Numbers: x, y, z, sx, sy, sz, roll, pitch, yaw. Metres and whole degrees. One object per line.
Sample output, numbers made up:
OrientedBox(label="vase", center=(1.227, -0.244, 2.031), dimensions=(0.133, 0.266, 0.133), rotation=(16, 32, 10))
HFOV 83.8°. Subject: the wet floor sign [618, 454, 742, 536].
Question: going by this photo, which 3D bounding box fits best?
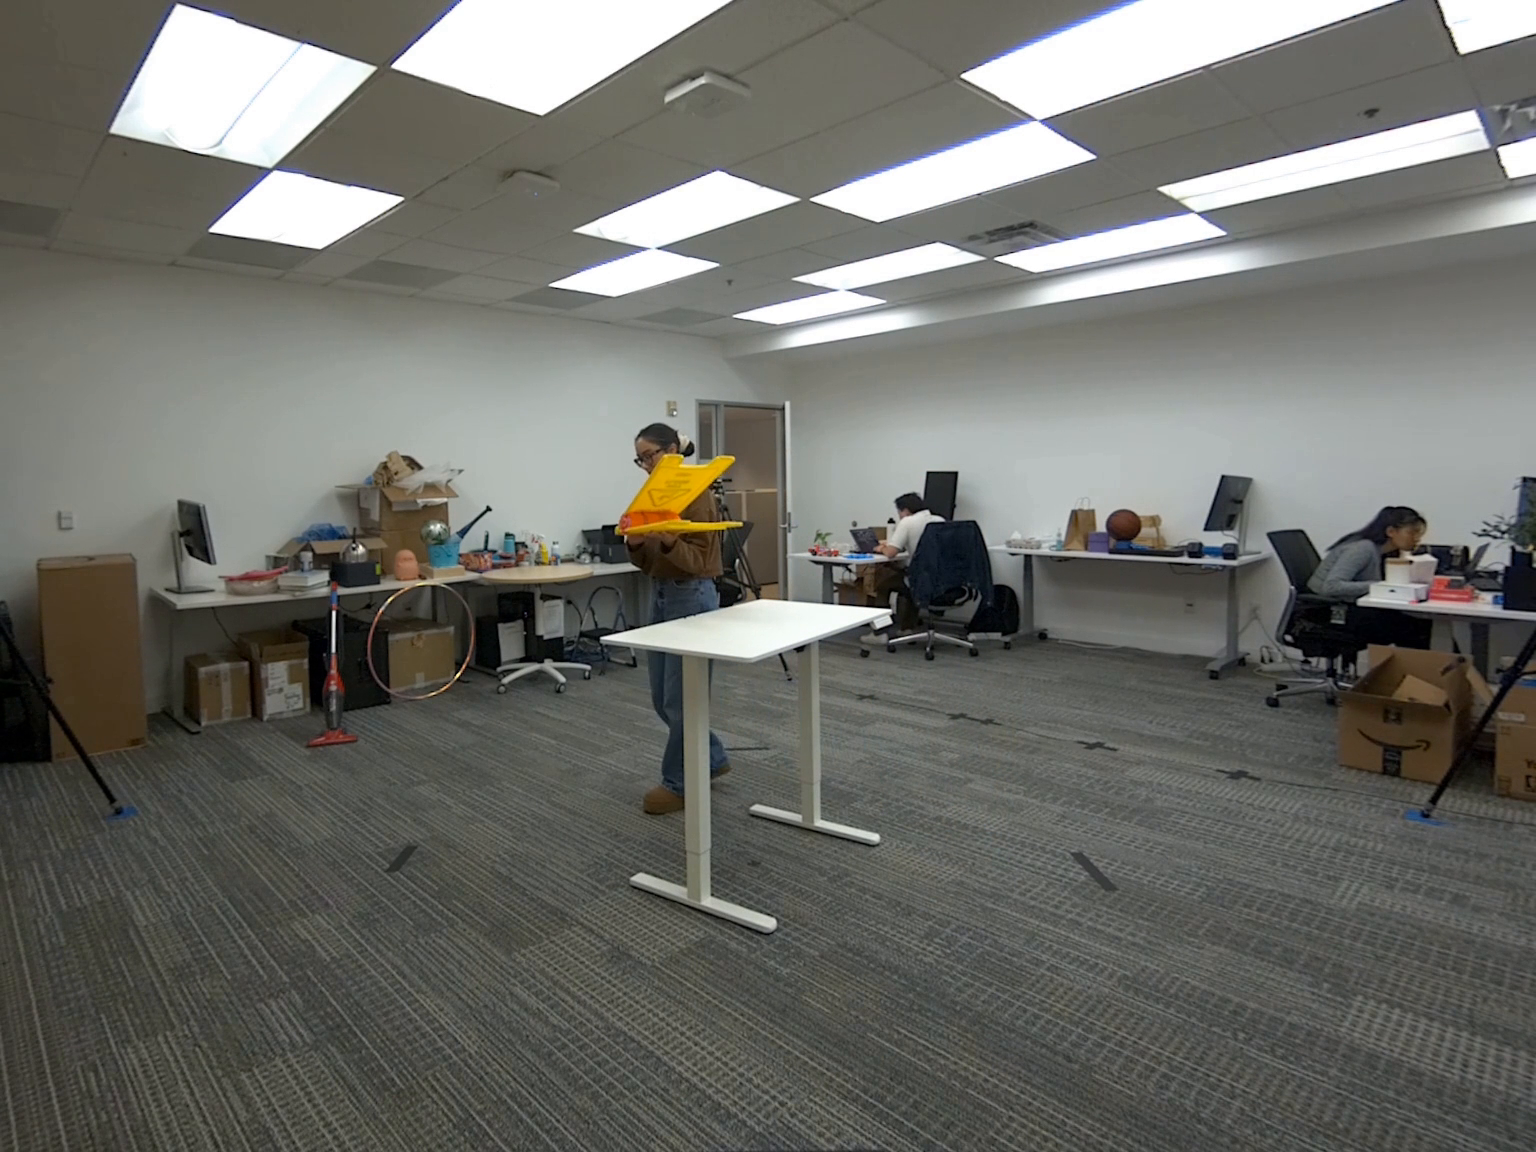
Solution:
OrientedBox(label="wet floor sign", center=(-0.395, -0.234, 3.256), dimensions=(0.275, 0.292, 0.656), rotation=(-1, -9, -31))
